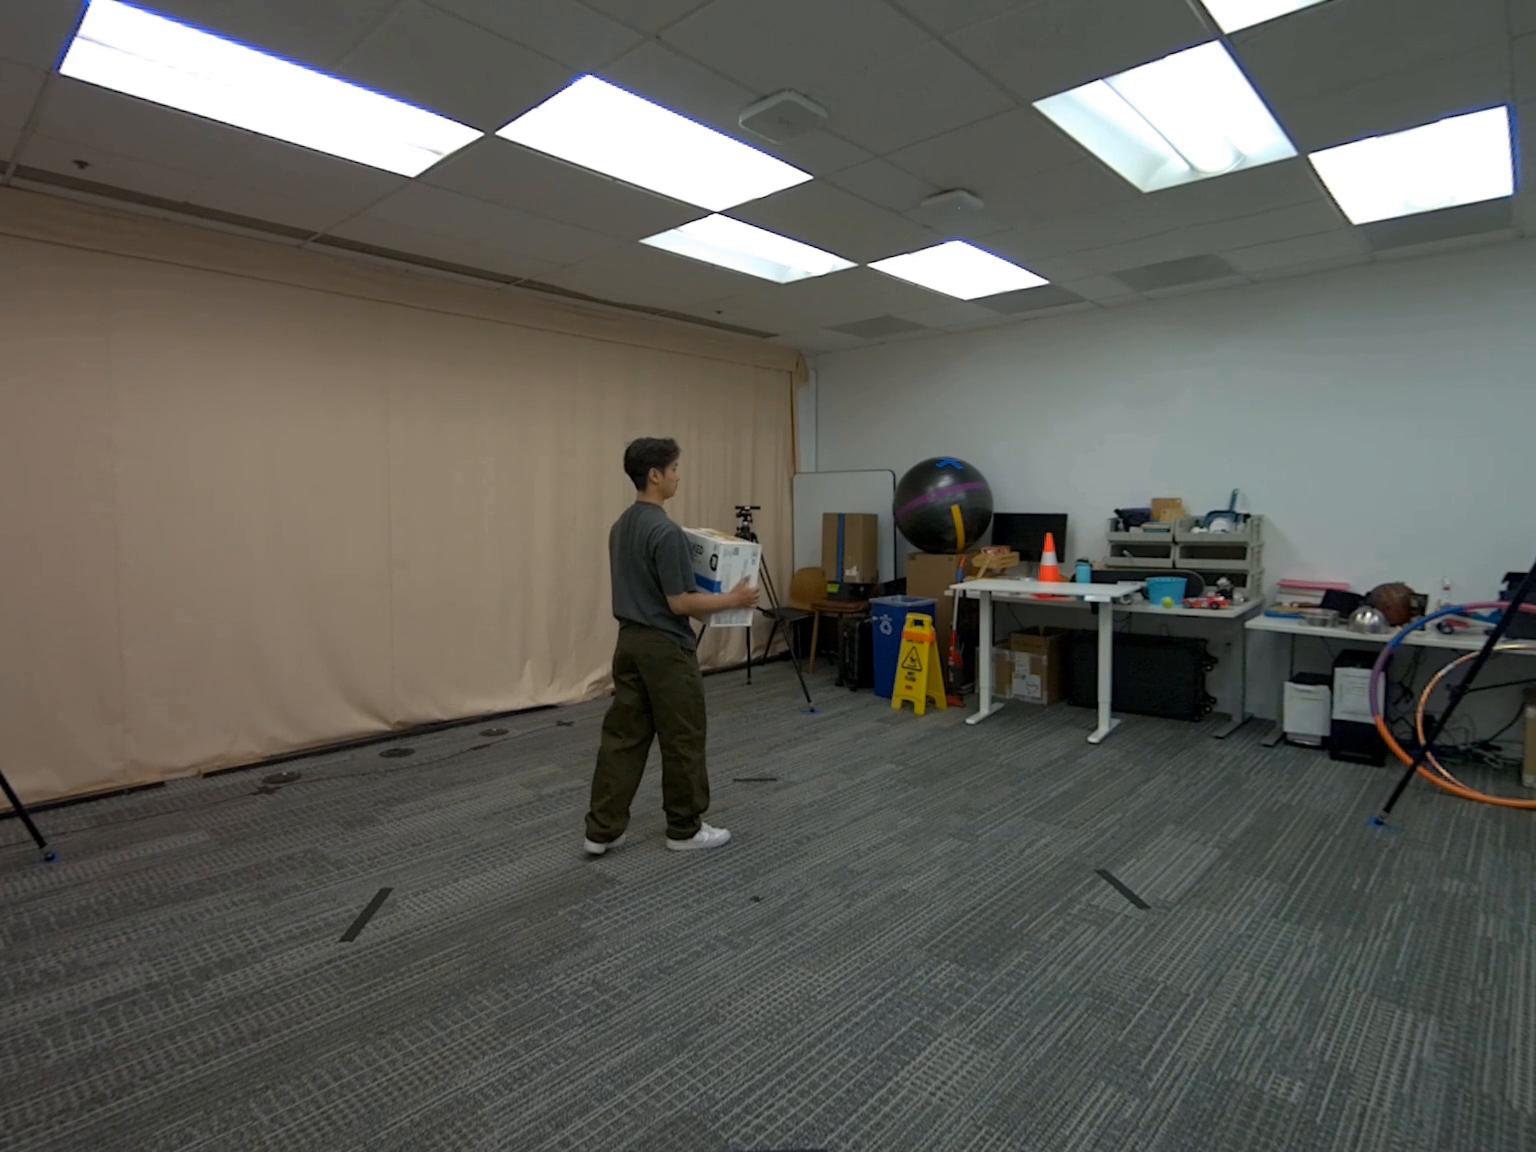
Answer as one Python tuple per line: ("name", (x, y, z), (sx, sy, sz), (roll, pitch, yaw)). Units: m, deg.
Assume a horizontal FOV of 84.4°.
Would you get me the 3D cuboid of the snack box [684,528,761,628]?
("snack box", (-0.236, -0.001, 3.517), (0.199, 0.339, 0.419), (2, 10, -34))
